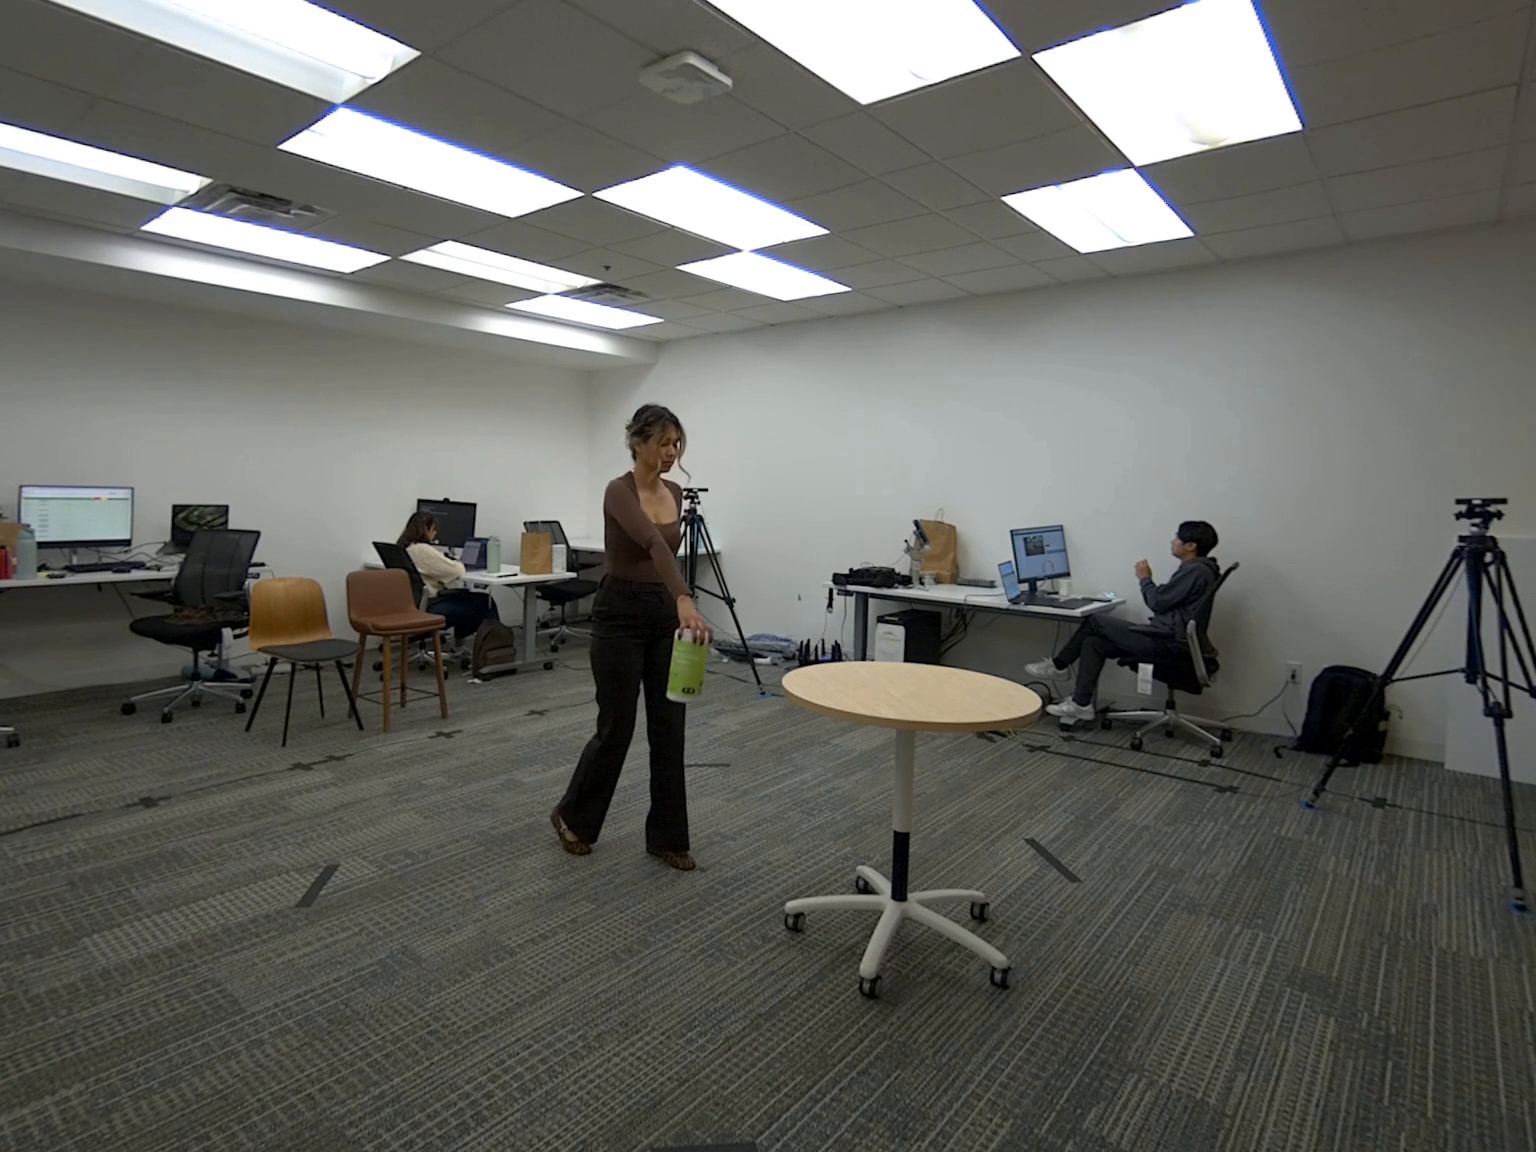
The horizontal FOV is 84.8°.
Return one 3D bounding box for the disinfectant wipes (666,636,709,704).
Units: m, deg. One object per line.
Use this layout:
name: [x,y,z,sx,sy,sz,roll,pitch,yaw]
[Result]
disinfectant wipes: [-0.255,0.280,2.653,0.118,0.217,0.118,7,-1,-2]
